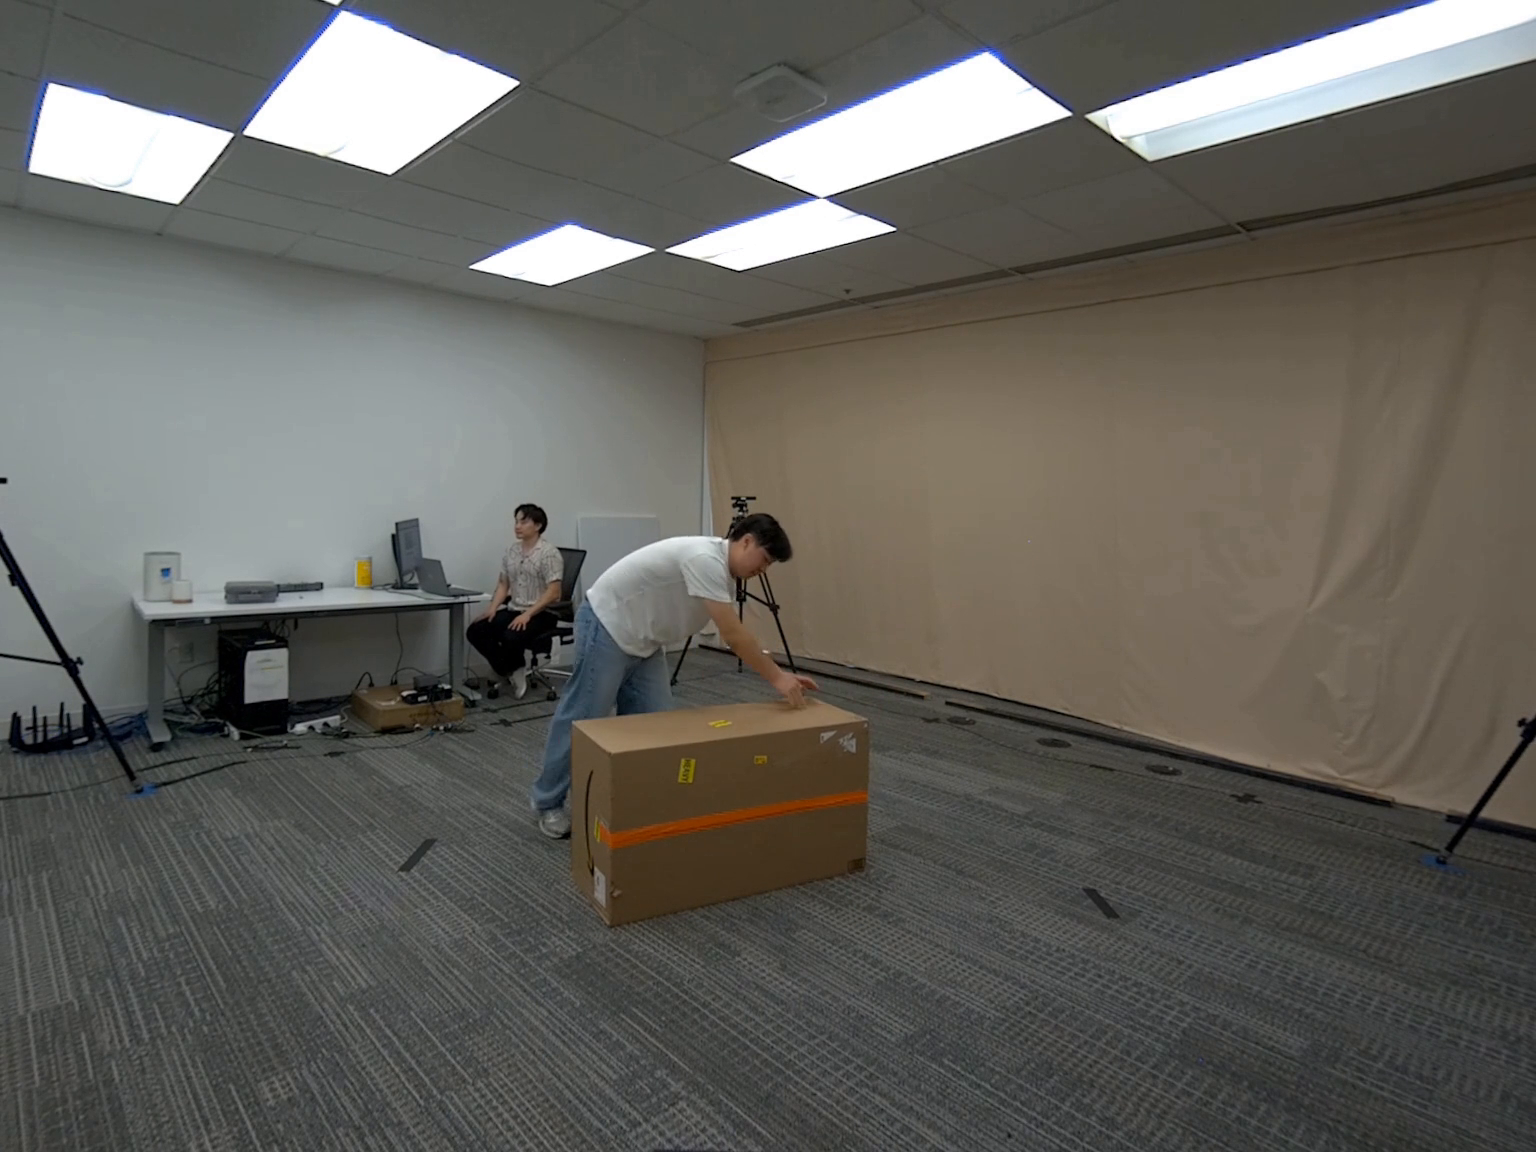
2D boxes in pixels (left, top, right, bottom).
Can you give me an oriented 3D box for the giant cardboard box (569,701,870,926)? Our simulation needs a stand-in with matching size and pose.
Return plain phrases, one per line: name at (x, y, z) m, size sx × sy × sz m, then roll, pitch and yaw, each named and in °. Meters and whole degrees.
giant cardboard box at (-0.170, 0.819, 3.103) m, size 1.006 × 0.576 × 0.435 m, roll -1°, pitch 4°, yaw -28°
